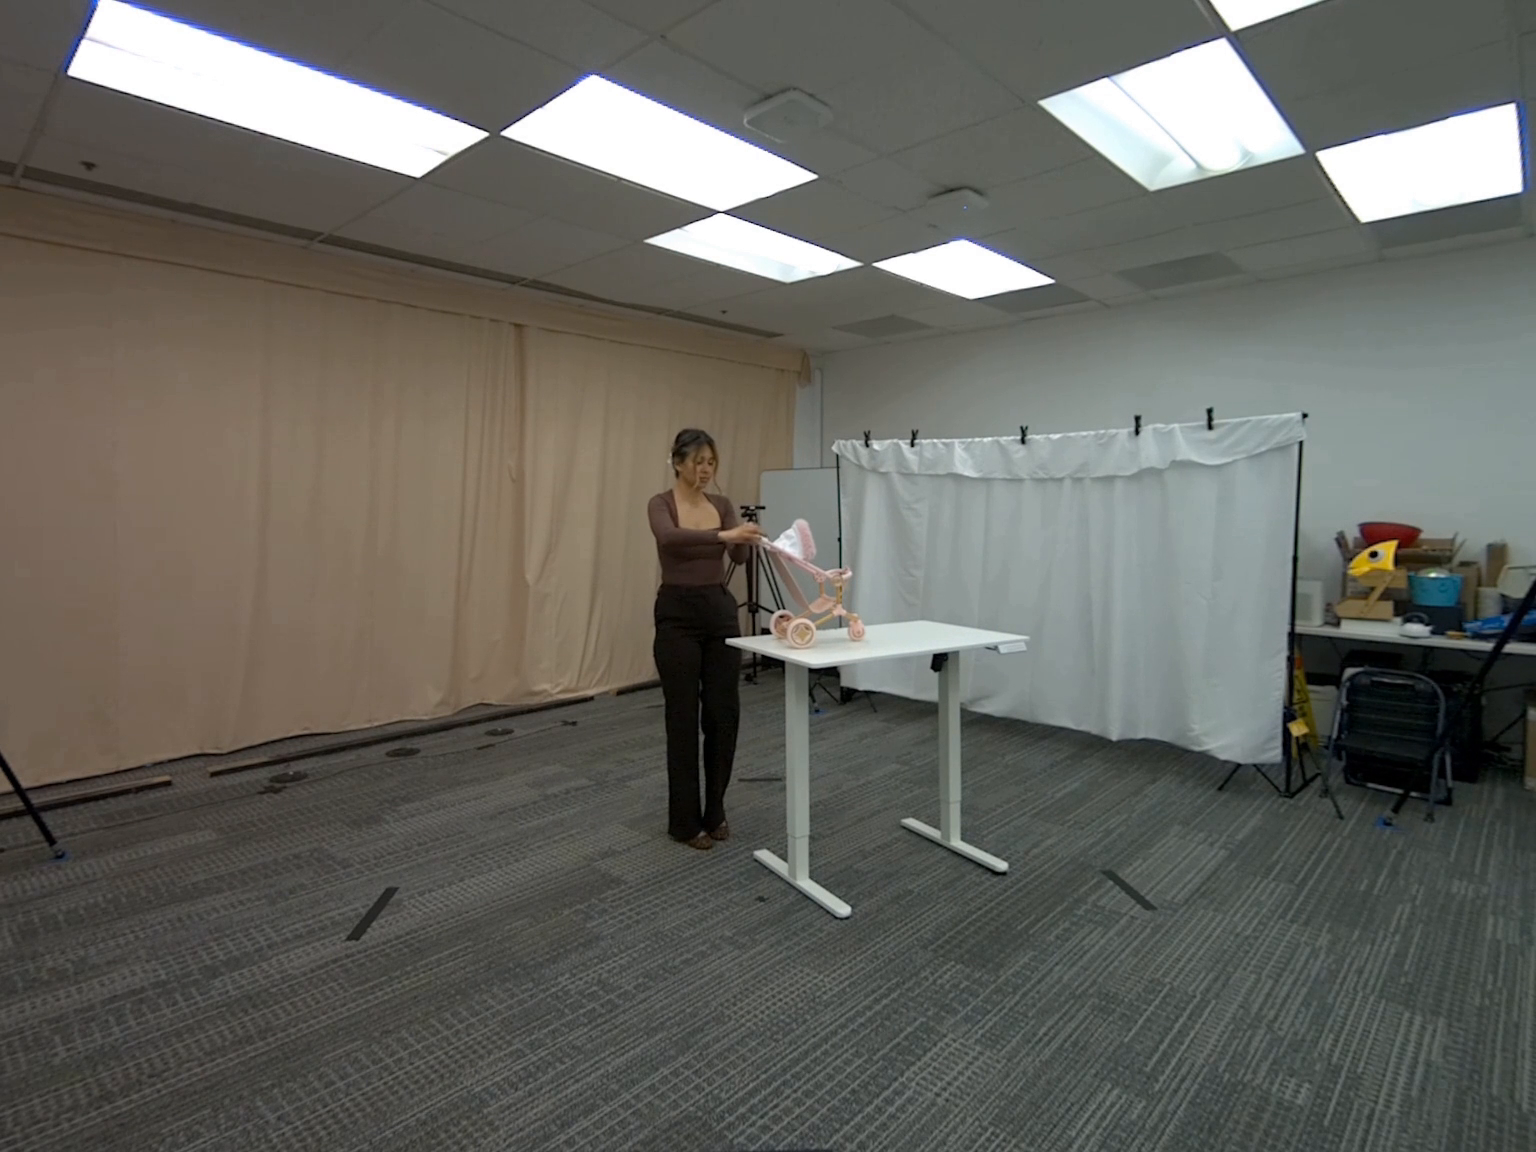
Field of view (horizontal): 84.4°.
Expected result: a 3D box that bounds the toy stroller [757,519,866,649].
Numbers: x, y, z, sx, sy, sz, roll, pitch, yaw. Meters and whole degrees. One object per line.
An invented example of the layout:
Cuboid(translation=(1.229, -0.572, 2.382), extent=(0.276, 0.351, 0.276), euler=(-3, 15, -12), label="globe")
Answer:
Cuboid(translation=(0.156, 0.031, 3.130), extent=(0.339, 0.532, 0.285), euler=(-17, 6, -7), label="toy stroller")
